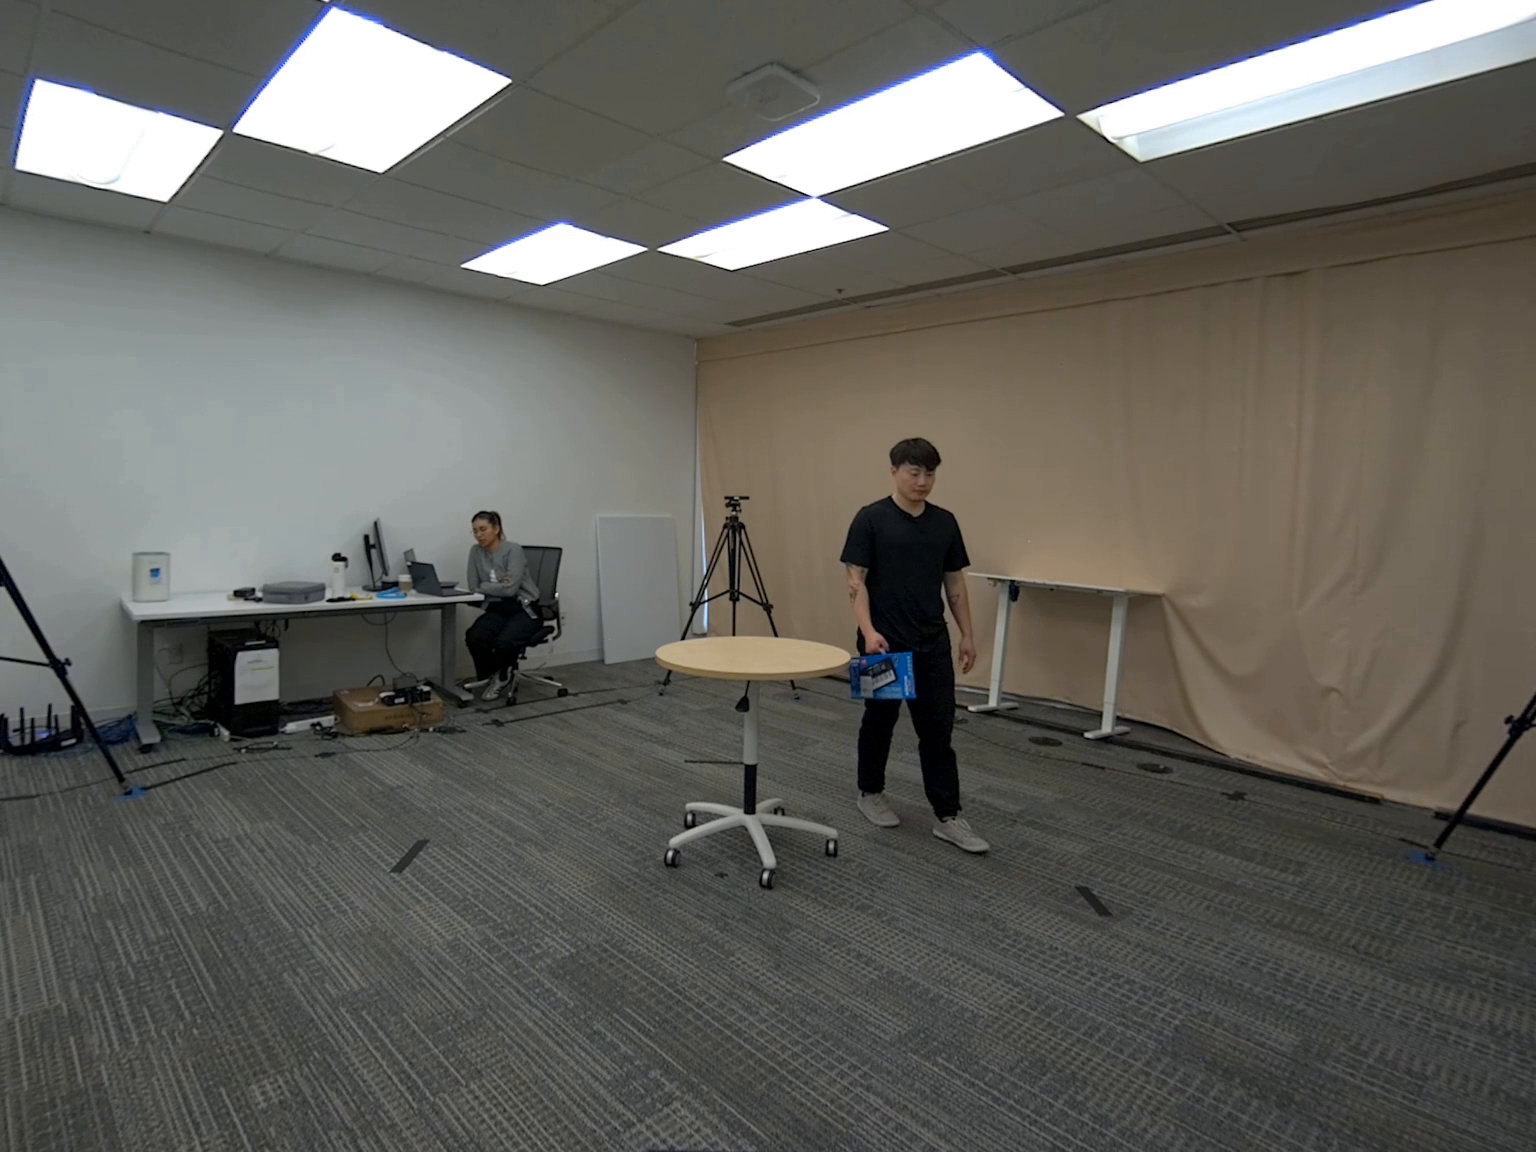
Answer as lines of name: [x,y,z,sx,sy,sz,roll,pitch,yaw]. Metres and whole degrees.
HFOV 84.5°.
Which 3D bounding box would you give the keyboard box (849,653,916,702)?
keyboard box: [0.434,0.401,3.360,0.058,0.177,0.440,0,-8,-20]
